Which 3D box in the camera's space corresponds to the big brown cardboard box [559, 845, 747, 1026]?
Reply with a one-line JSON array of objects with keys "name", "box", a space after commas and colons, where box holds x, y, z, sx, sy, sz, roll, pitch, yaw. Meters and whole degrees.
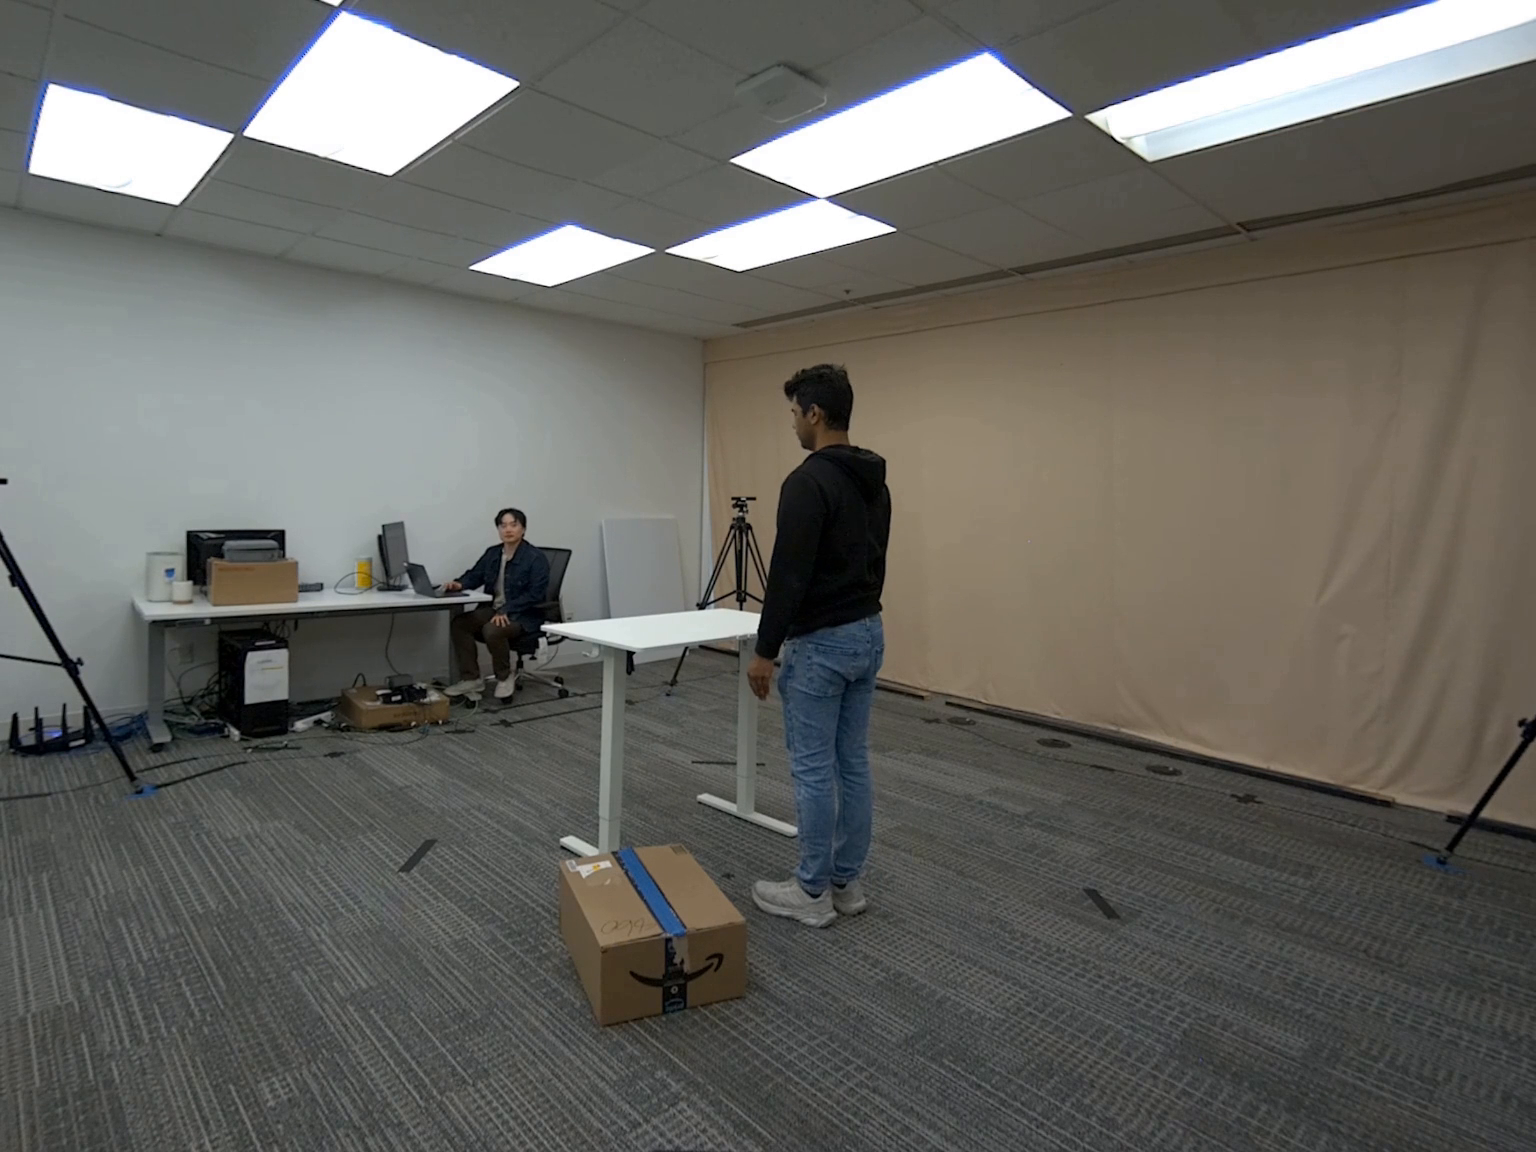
[{"name": "big brown cardboard box", "box": [-0.373, 1.045, 2.525, 0.410, 0.232, 0.601, -1, 6, -24]}]
